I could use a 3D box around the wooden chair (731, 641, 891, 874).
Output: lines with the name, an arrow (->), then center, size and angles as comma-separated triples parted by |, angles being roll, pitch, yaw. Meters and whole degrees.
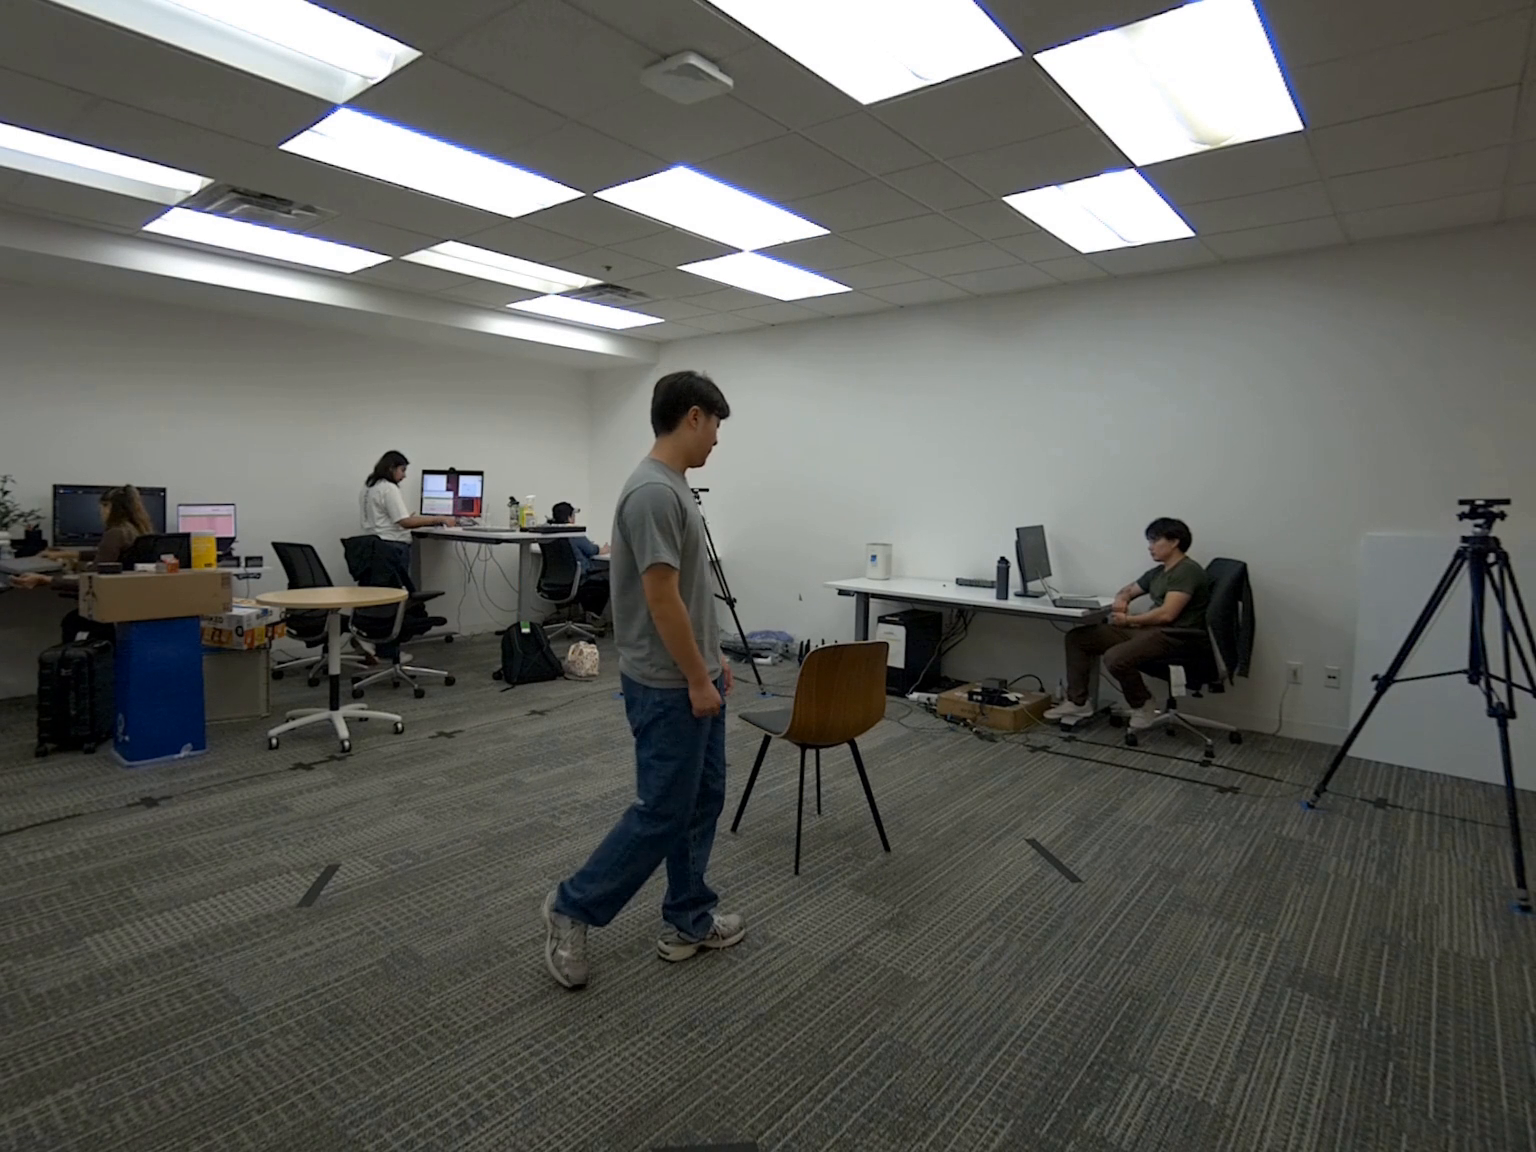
wooden chair -> 0.156, 0.625, 3.359 | 0.465, 0.872, 0.541 | -1, 8, -32
